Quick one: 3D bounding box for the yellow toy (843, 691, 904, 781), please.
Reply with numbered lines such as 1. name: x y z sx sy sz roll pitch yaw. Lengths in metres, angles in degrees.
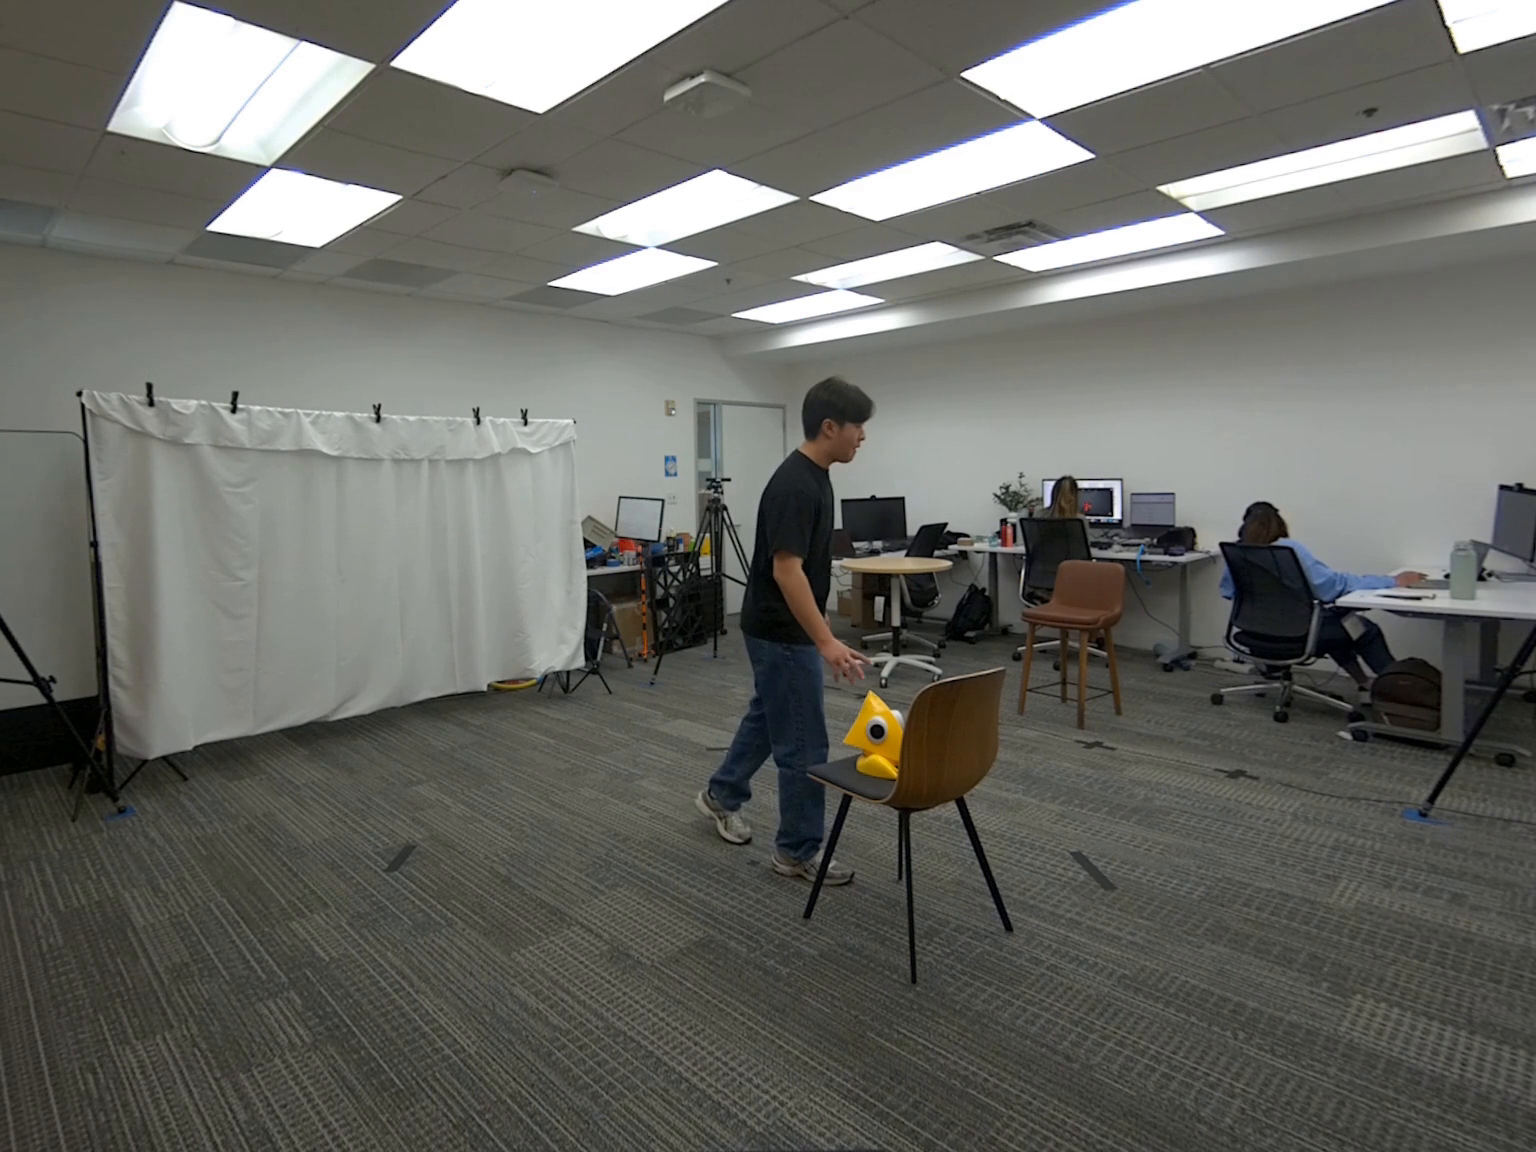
1. yellow toy: 0.377 0.486 2.687 0.199 0.229 0.199 6 9 43
